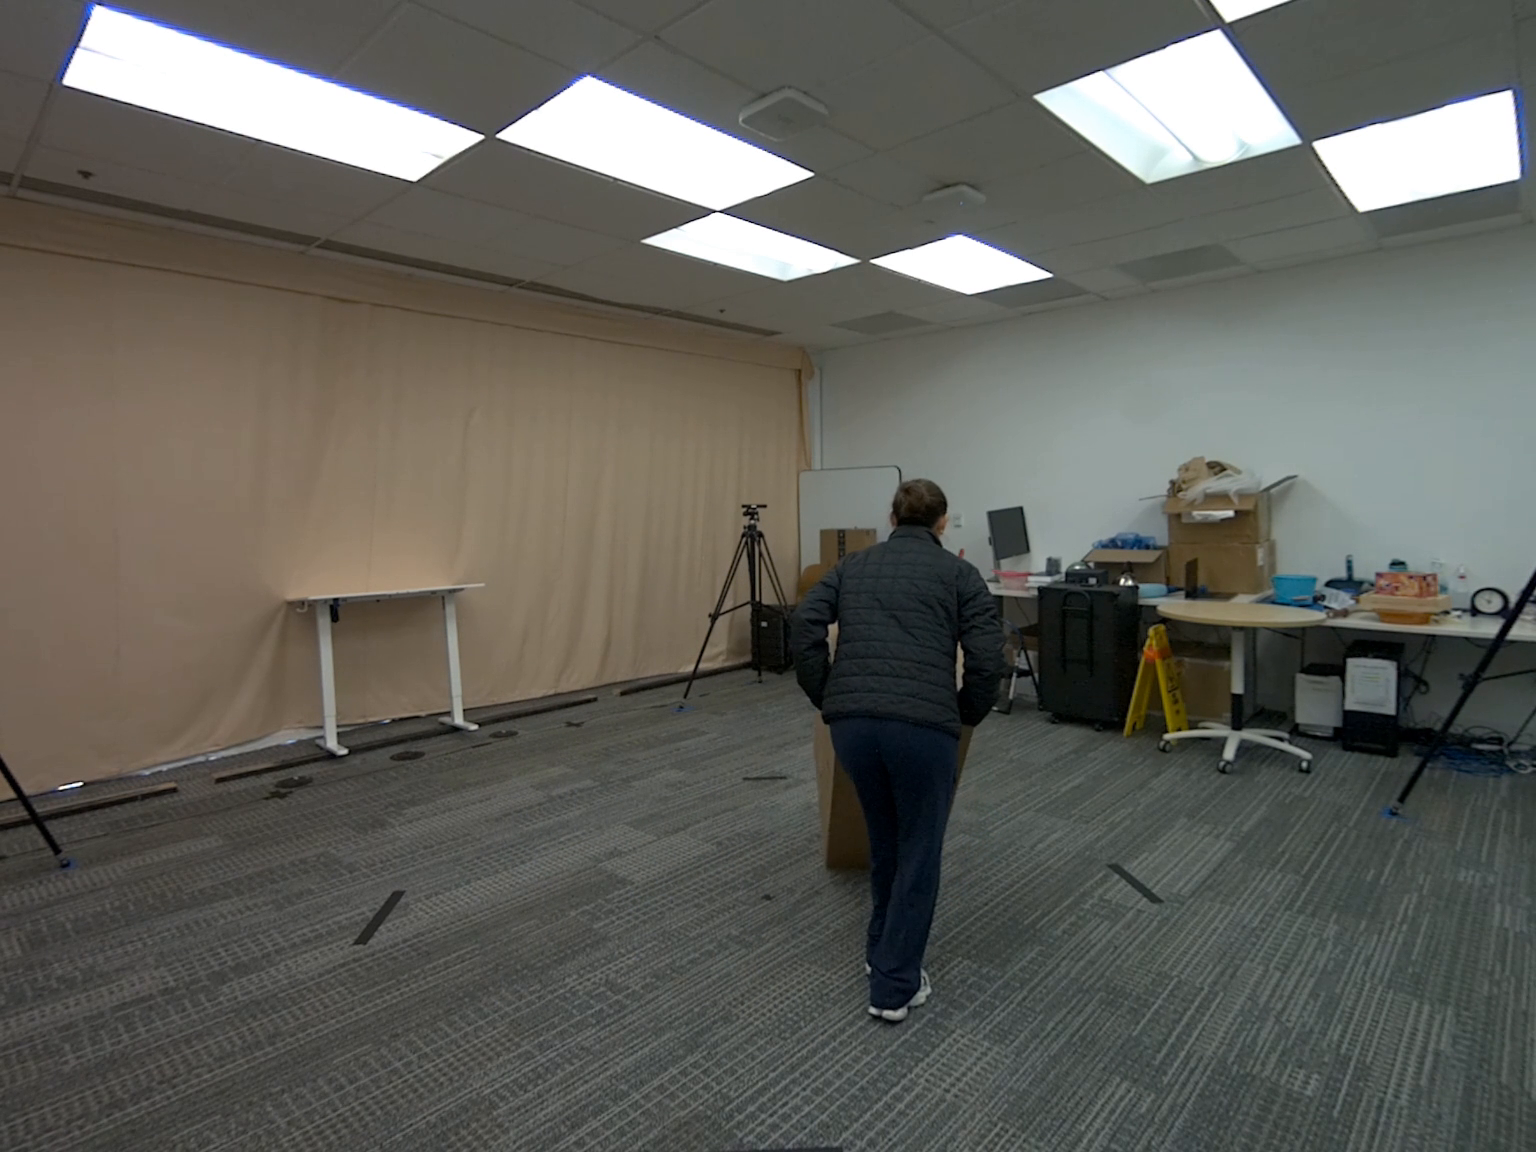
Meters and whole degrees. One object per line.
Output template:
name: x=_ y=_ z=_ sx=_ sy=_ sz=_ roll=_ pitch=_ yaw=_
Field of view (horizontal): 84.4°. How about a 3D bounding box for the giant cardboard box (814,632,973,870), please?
giant cardboard box: x=0.430 y=0.558 z=3.060 sx=0.448 sy=1.006 sz=0.594 roll=0 pitch=45 yaw=1
